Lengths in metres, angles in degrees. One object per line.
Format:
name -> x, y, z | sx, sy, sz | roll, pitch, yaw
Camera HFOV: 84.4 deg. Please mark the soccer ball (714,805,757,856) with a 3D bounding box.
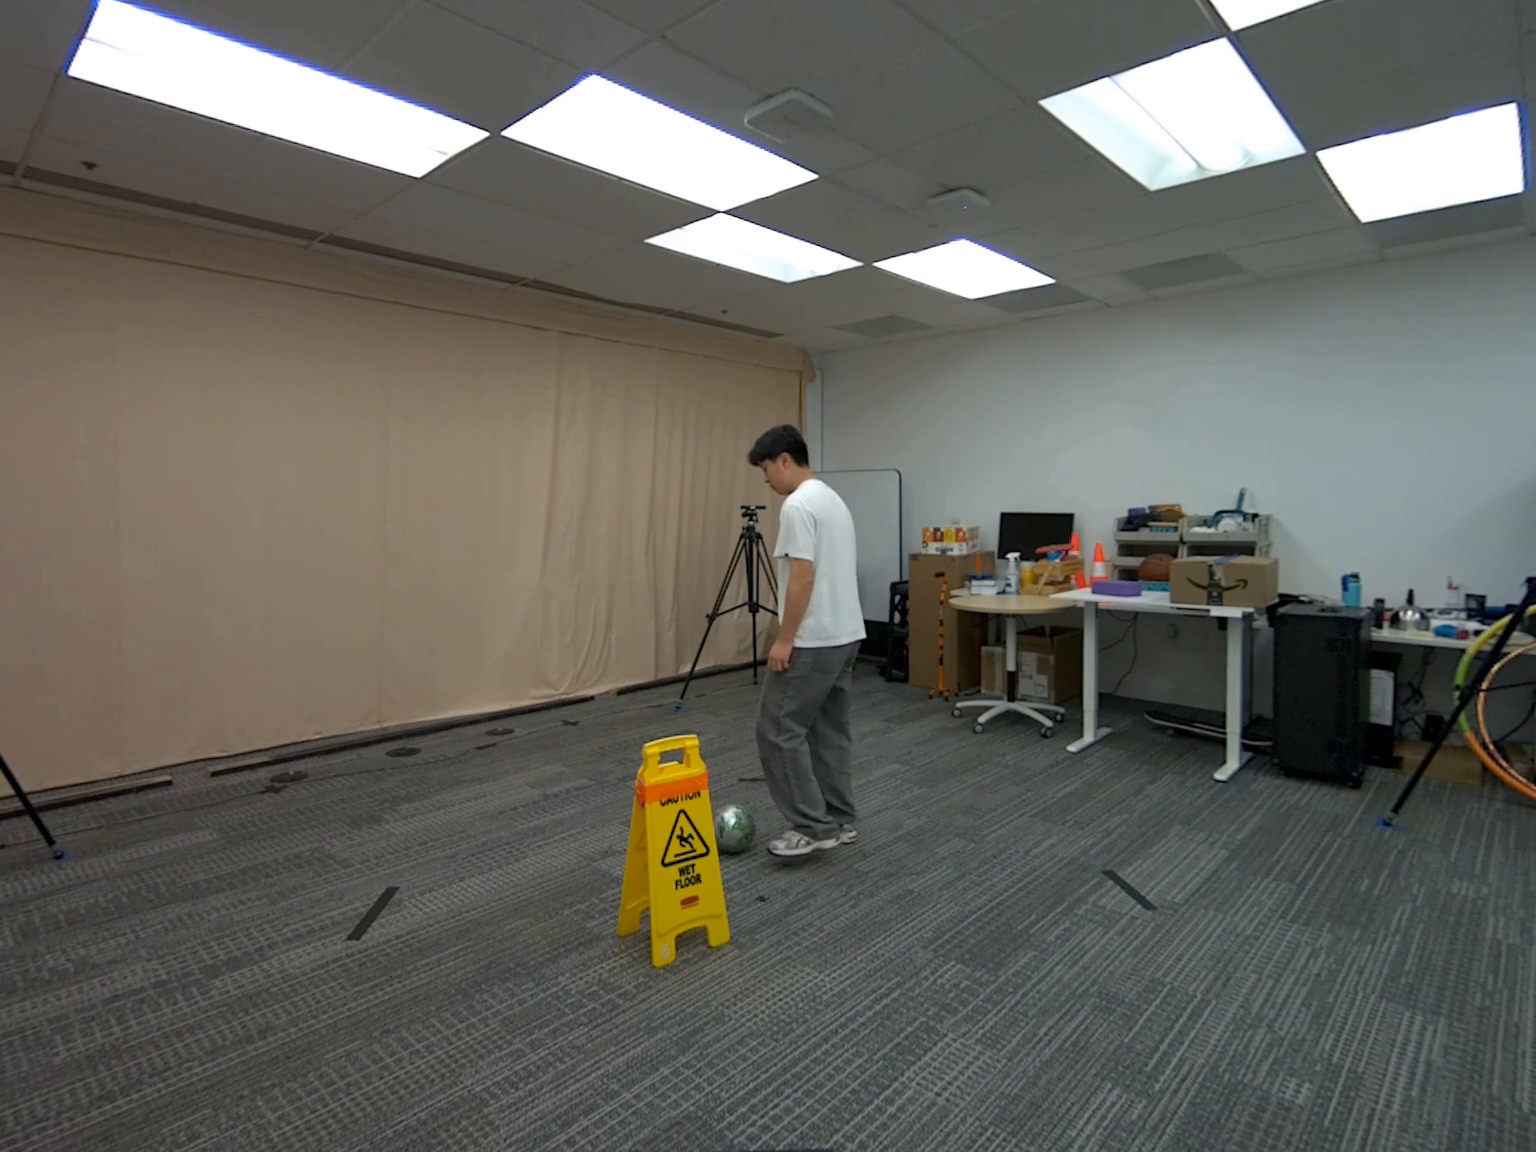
soccer ball -> -0.135, 1.021, 3.392 | 0.187, 0.187, 0.188 | 0, 4, -2
